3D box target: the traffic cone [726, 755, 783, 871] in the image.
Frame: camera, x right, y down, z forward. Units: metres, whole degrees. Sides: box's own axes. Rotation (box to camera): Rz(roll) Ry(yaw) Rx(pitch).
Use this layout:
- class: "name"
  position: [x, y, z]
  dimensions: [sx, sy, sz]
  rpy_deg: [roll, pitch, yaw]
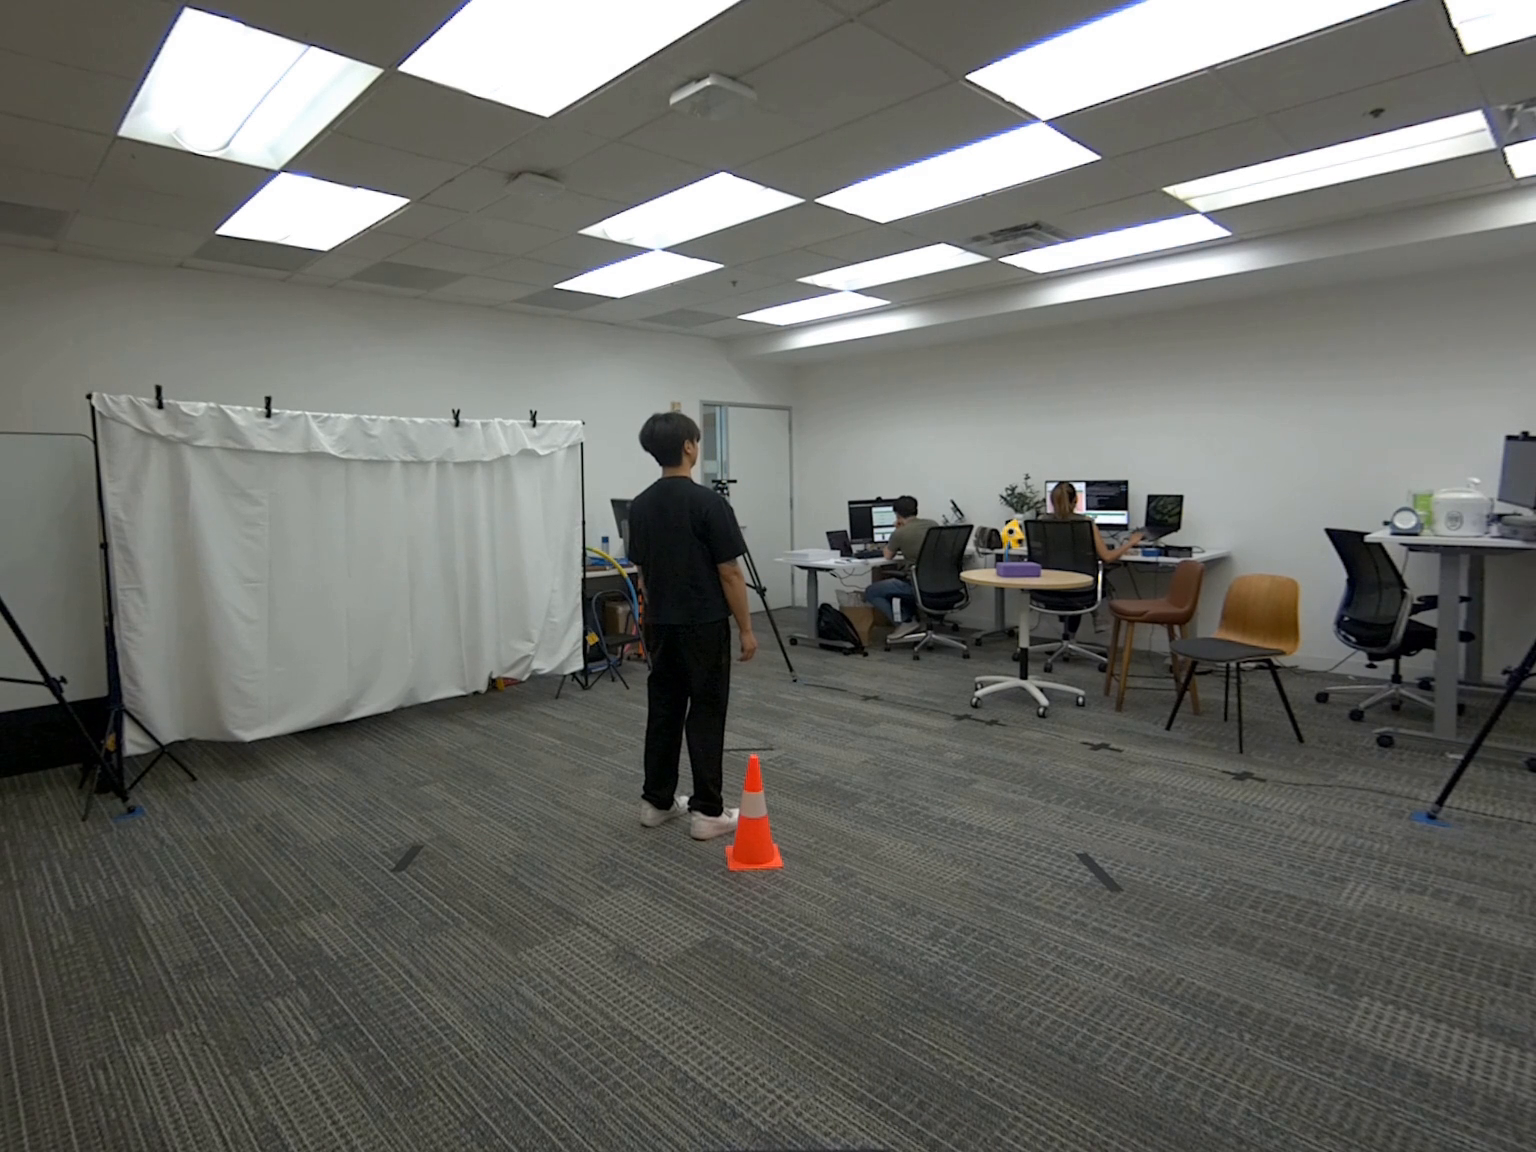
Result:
- class: "traffic cone"
  position: [-0.050, 0.860, 3.153]
  dimensions: [0.203, 0.382, 0.206]
  rpy_deg: [-1, 4, -3]
